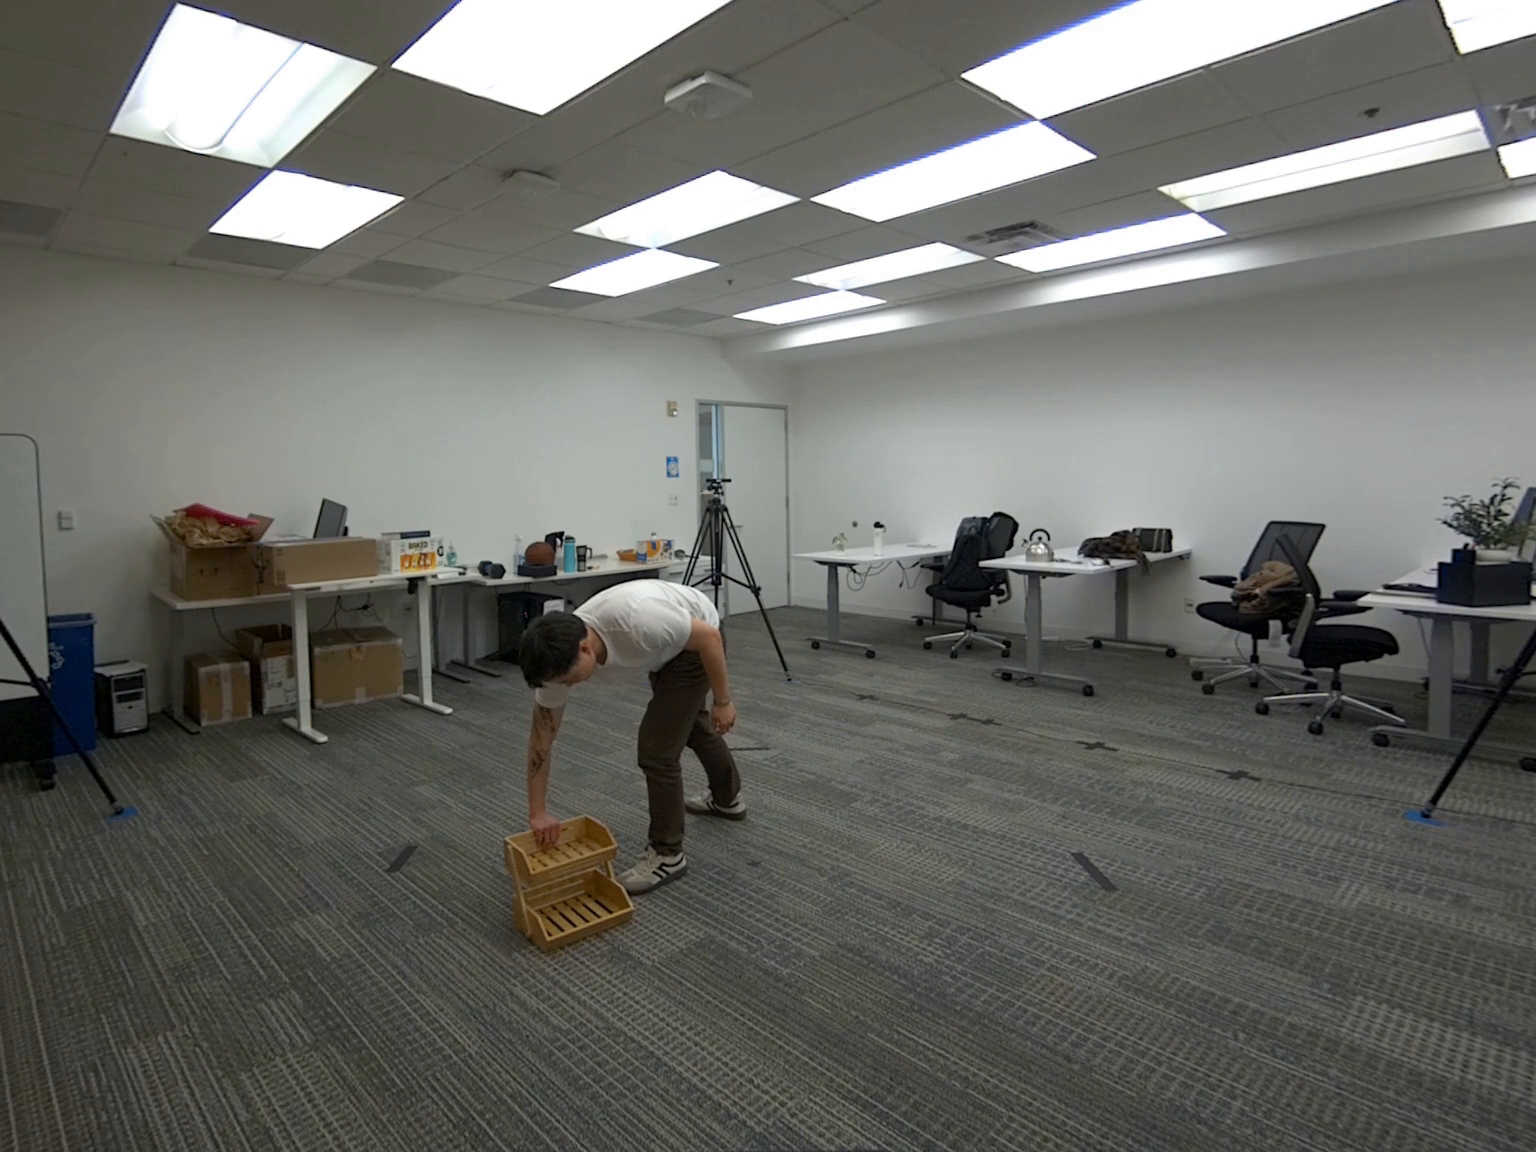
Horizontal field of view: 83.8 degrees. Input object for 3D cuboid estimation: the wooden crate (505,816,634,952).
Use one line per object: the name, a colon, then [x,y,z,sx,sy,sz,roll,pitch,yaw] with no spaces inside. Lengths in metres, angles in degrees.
wooden crate: [-0.632,0.964,2.724,0.316,0.272,0.311,-5,6,-39]
